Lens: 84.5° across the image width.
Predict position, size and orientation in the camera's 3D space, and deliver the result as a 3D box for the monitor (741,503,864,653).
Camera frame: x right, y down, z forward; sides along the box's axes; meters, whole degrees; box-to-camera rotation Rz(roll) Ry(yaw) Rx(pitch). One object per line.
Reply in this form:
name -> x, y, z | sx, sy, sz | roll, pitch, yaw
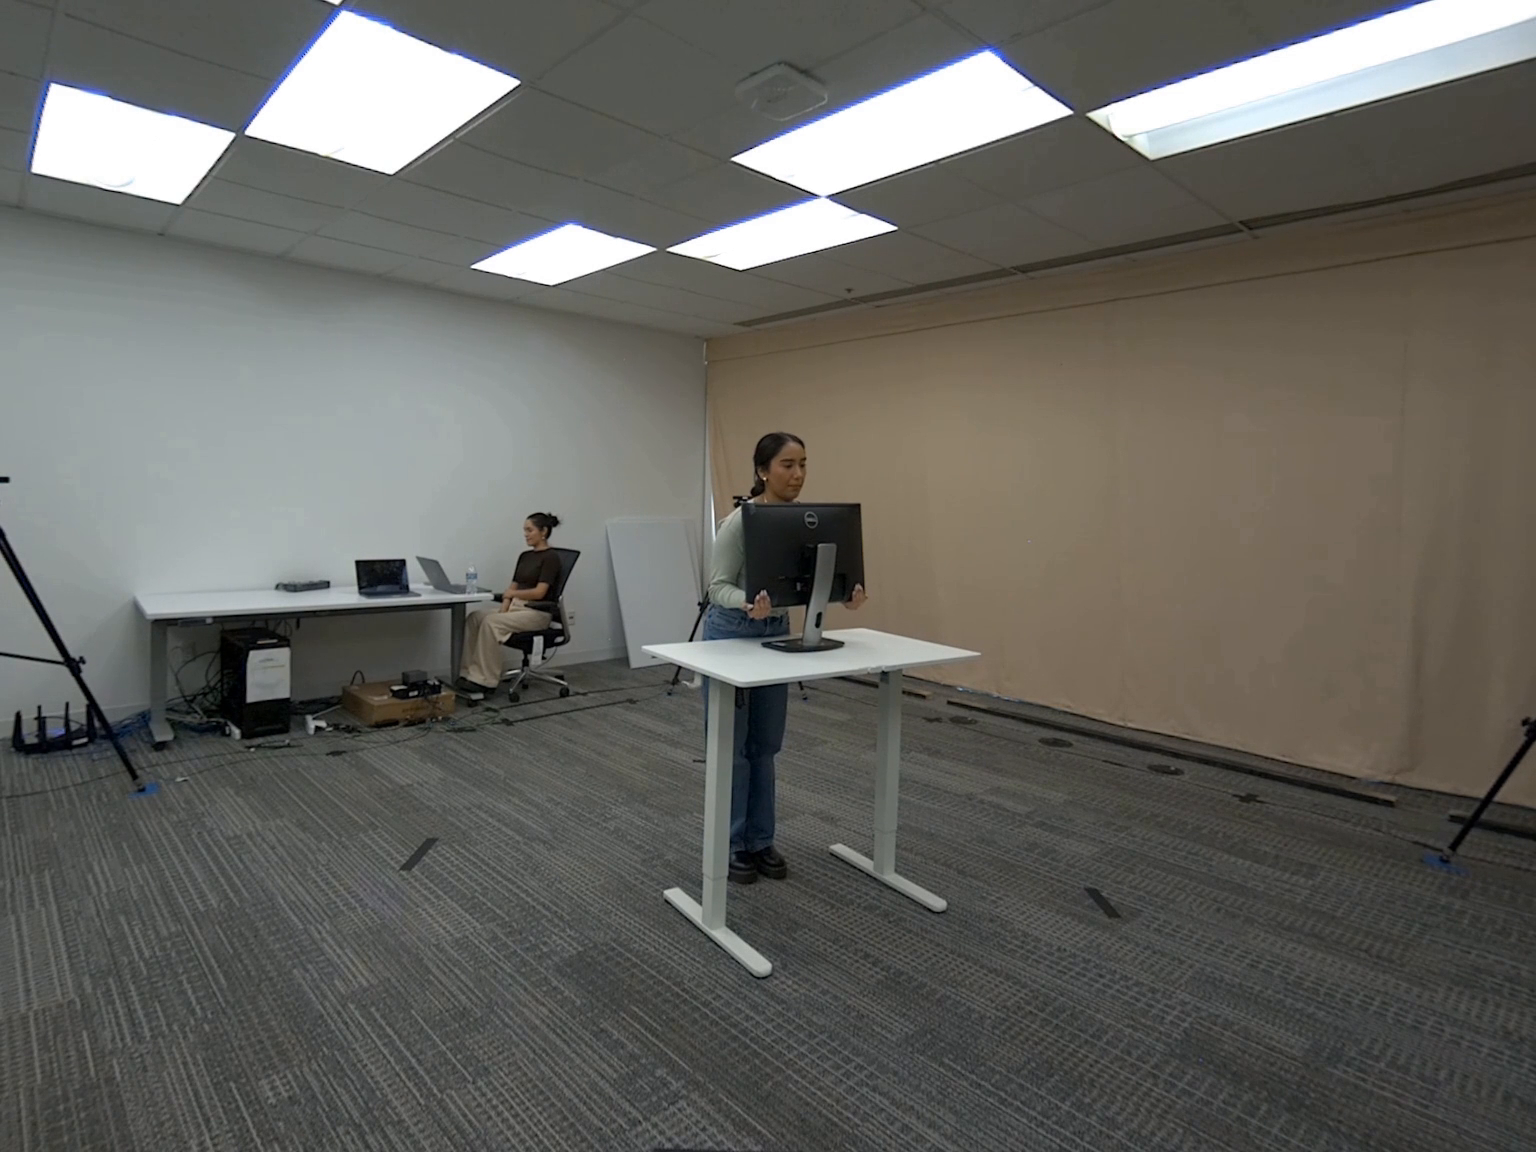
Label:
monitor -> 0.125, 0.005, 2.897 | 0.527, 0.524, 0.191 | -2, -4, -41
